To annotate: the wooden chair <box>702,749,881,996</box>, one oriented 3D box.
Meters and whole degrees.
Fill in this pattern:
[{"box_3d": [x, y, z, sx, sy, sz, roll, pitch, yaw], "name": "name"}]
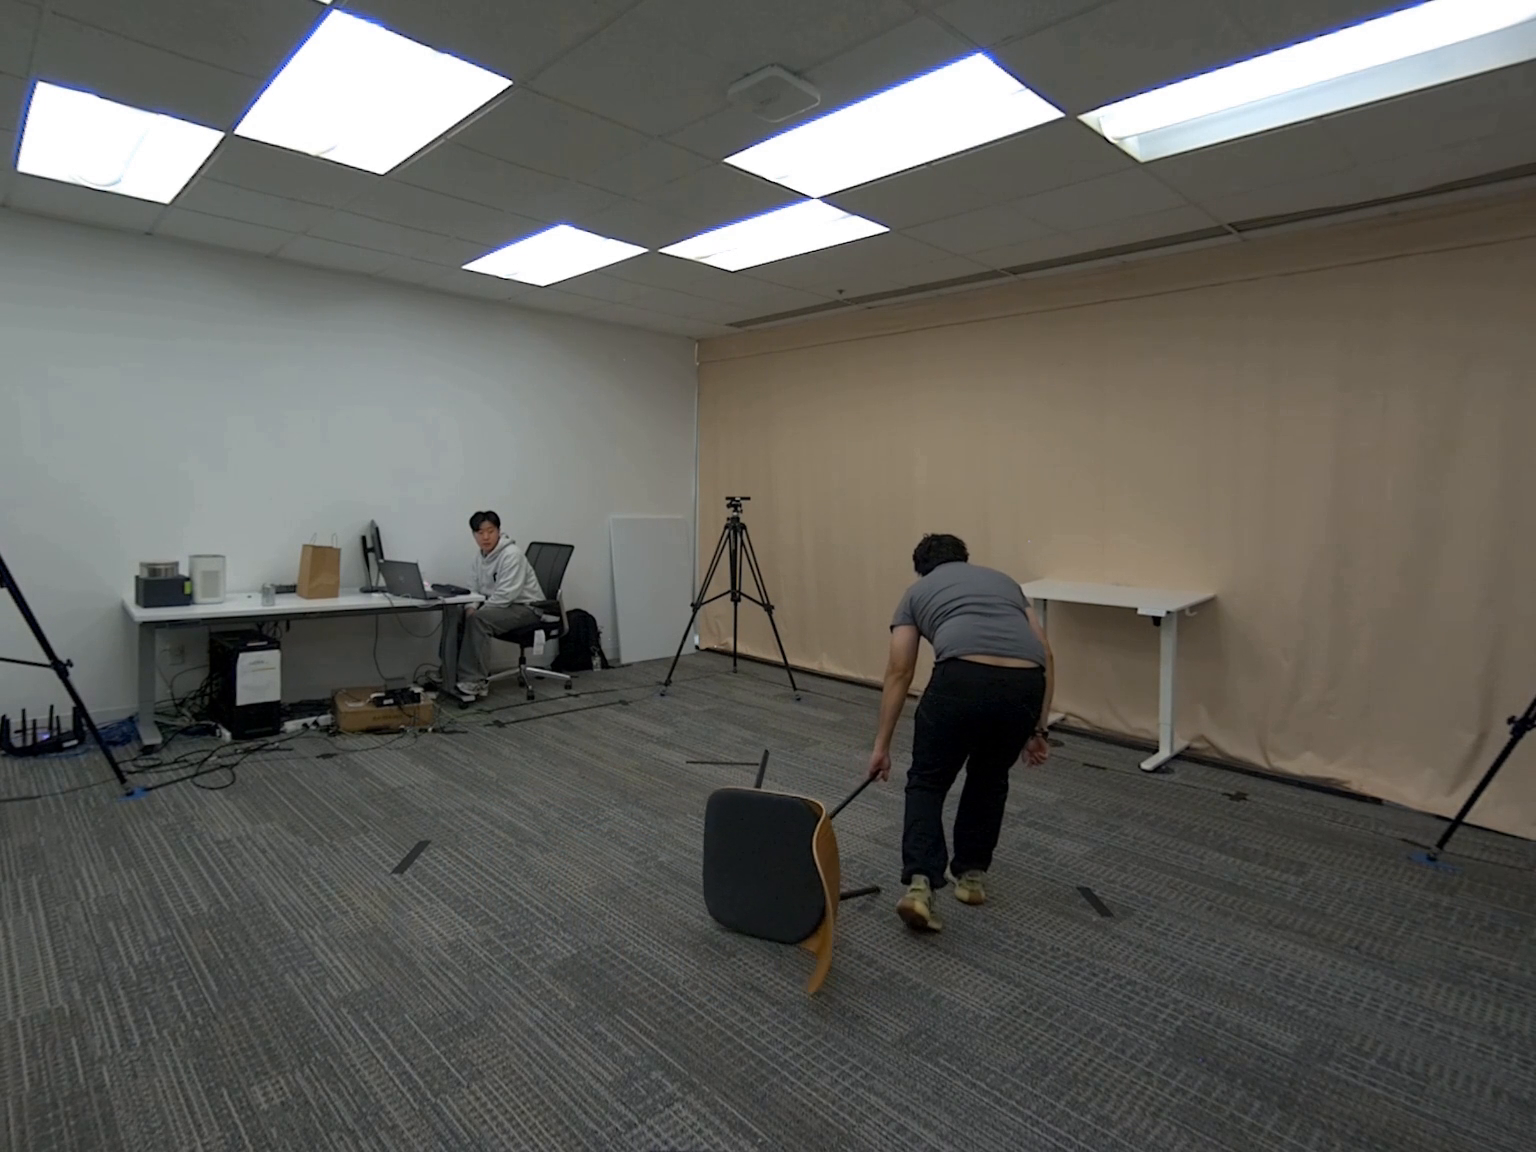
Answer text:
[{"box_3d": [0.037, 0.919, 2.683, 0.531, 0.477, 0.867, 2, 5, 17], "name": "wooden chair"}]
